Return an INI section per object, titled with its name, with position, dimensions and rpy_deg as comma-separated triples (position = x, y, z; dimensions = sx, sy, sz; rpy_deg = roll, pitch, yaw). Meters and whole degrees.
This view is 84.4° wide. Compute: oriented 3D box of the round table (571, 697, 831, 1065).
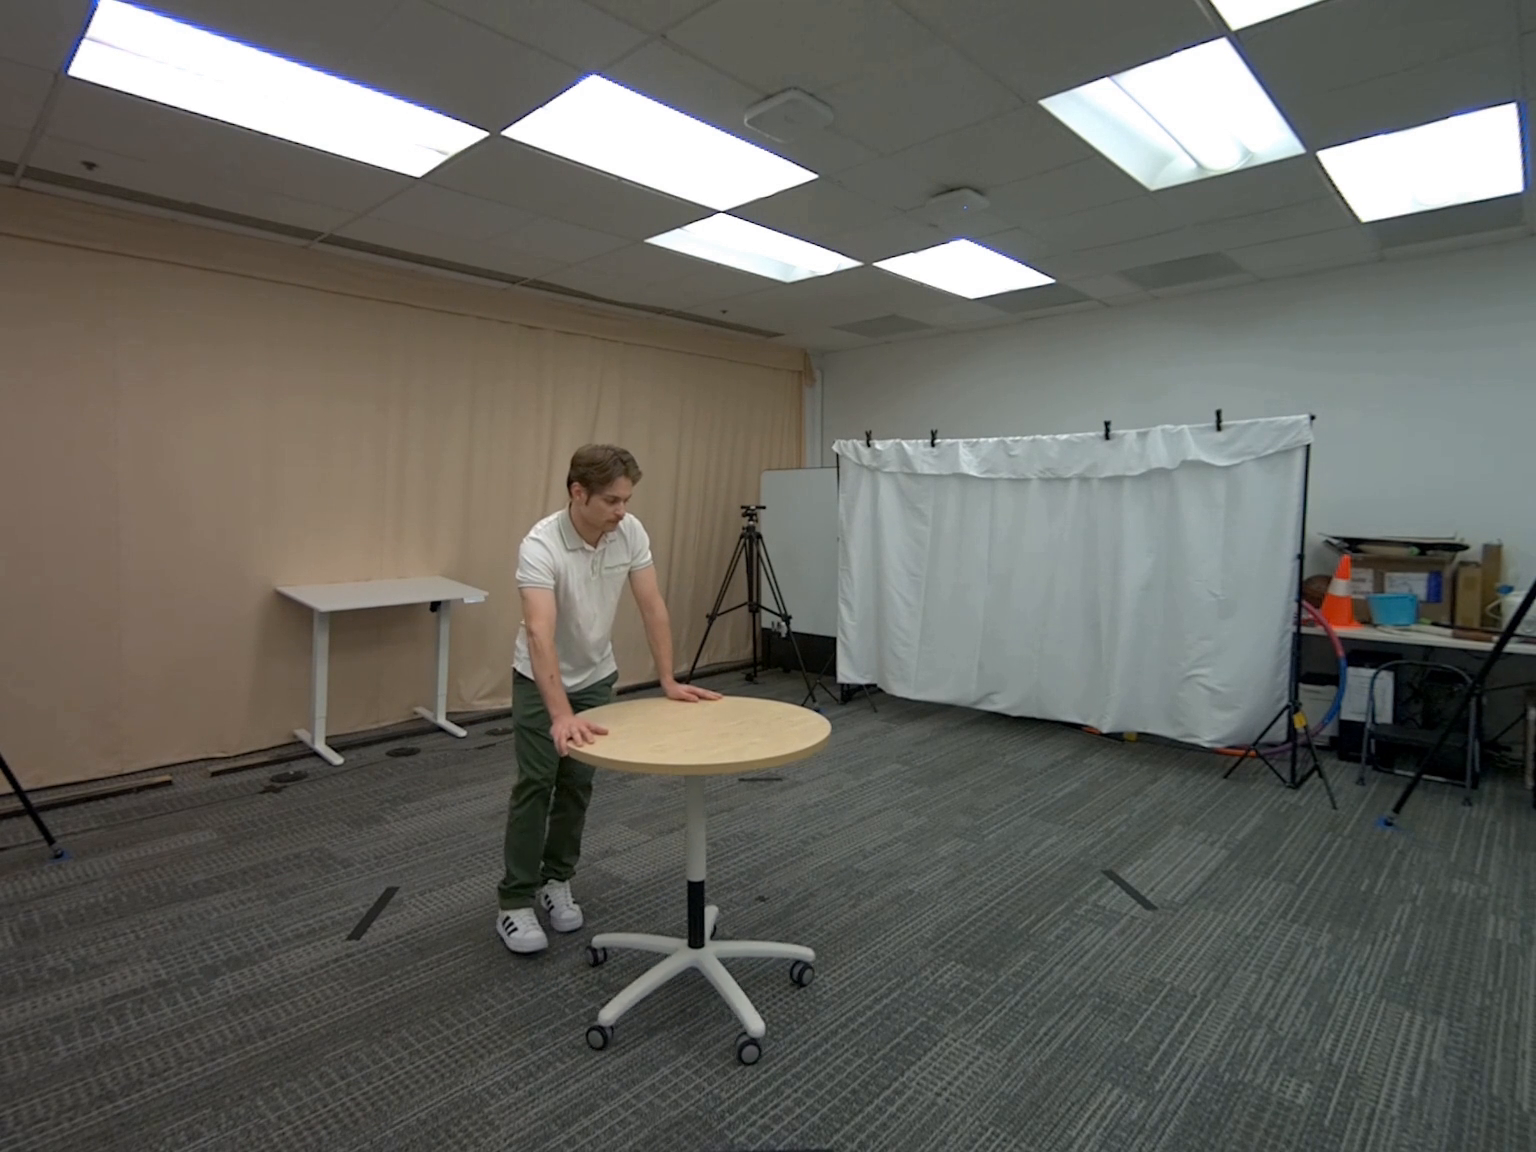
[round table]
position = -0.201, 0.812, 2.388
dimensions = 0.763, 0.792, 0.766
rpy_deg = -1, 4, -2
